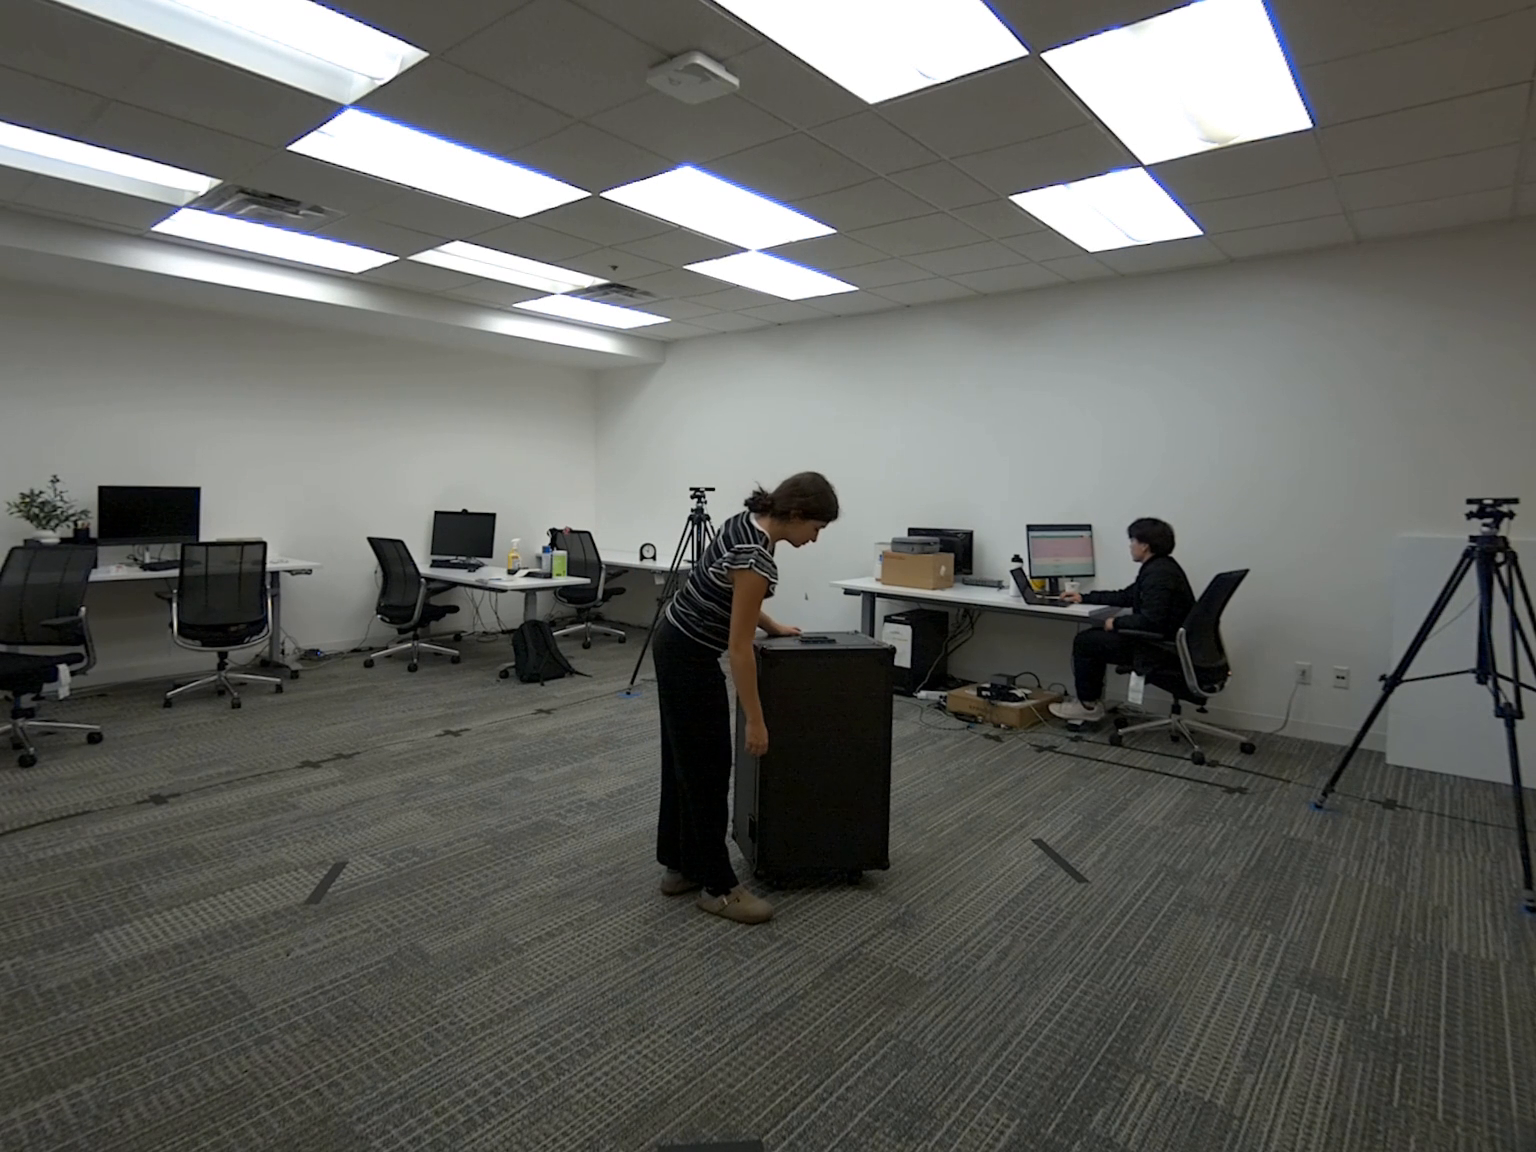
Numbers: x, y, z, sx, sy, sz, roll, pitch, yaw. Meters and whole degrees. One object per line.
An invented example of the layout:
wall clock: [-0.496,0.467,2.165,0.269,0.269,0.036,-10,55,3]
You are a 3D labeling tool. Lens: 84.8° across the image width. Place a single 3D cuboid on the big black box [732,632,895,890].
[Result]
big black box: [0.138,0.652,3.096,0.514,0.860,0.402,1,1,-13]
